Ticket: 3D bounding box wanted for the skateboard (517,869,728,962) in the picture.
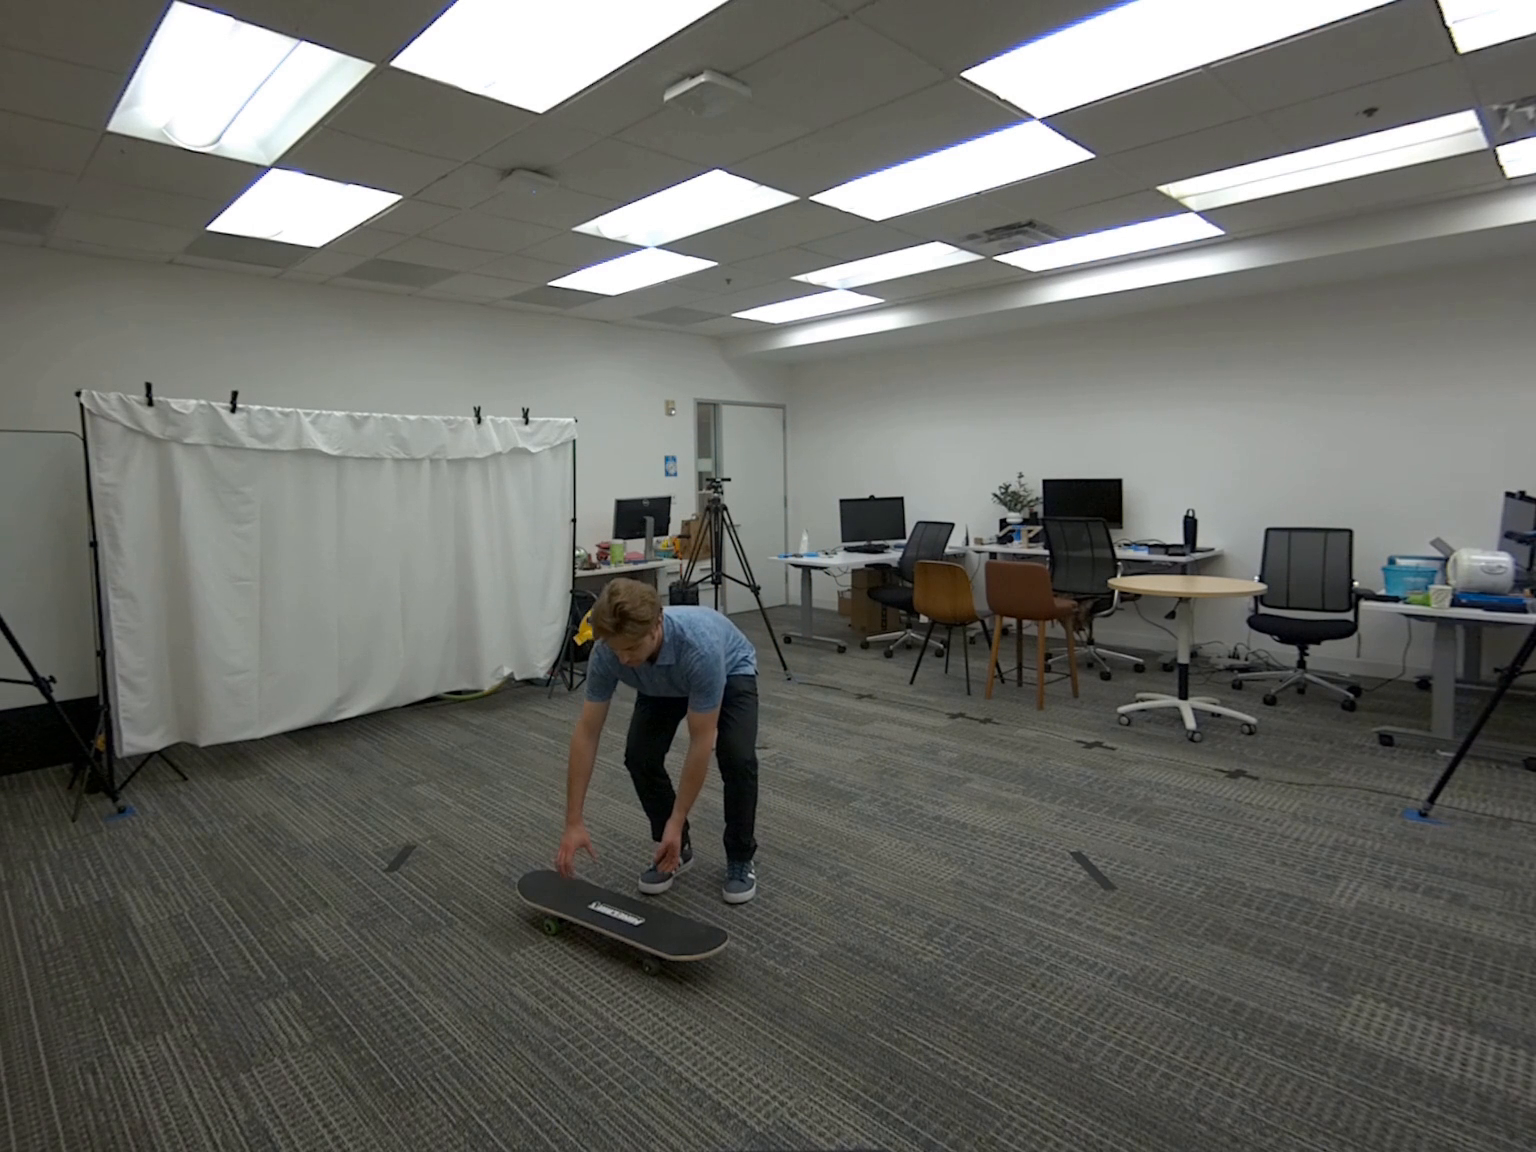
[{"bbox_3d":[-0.454,1.053,2.591,0.807,0.110,0.189,3,8,33],"label":"skateboard"}]
